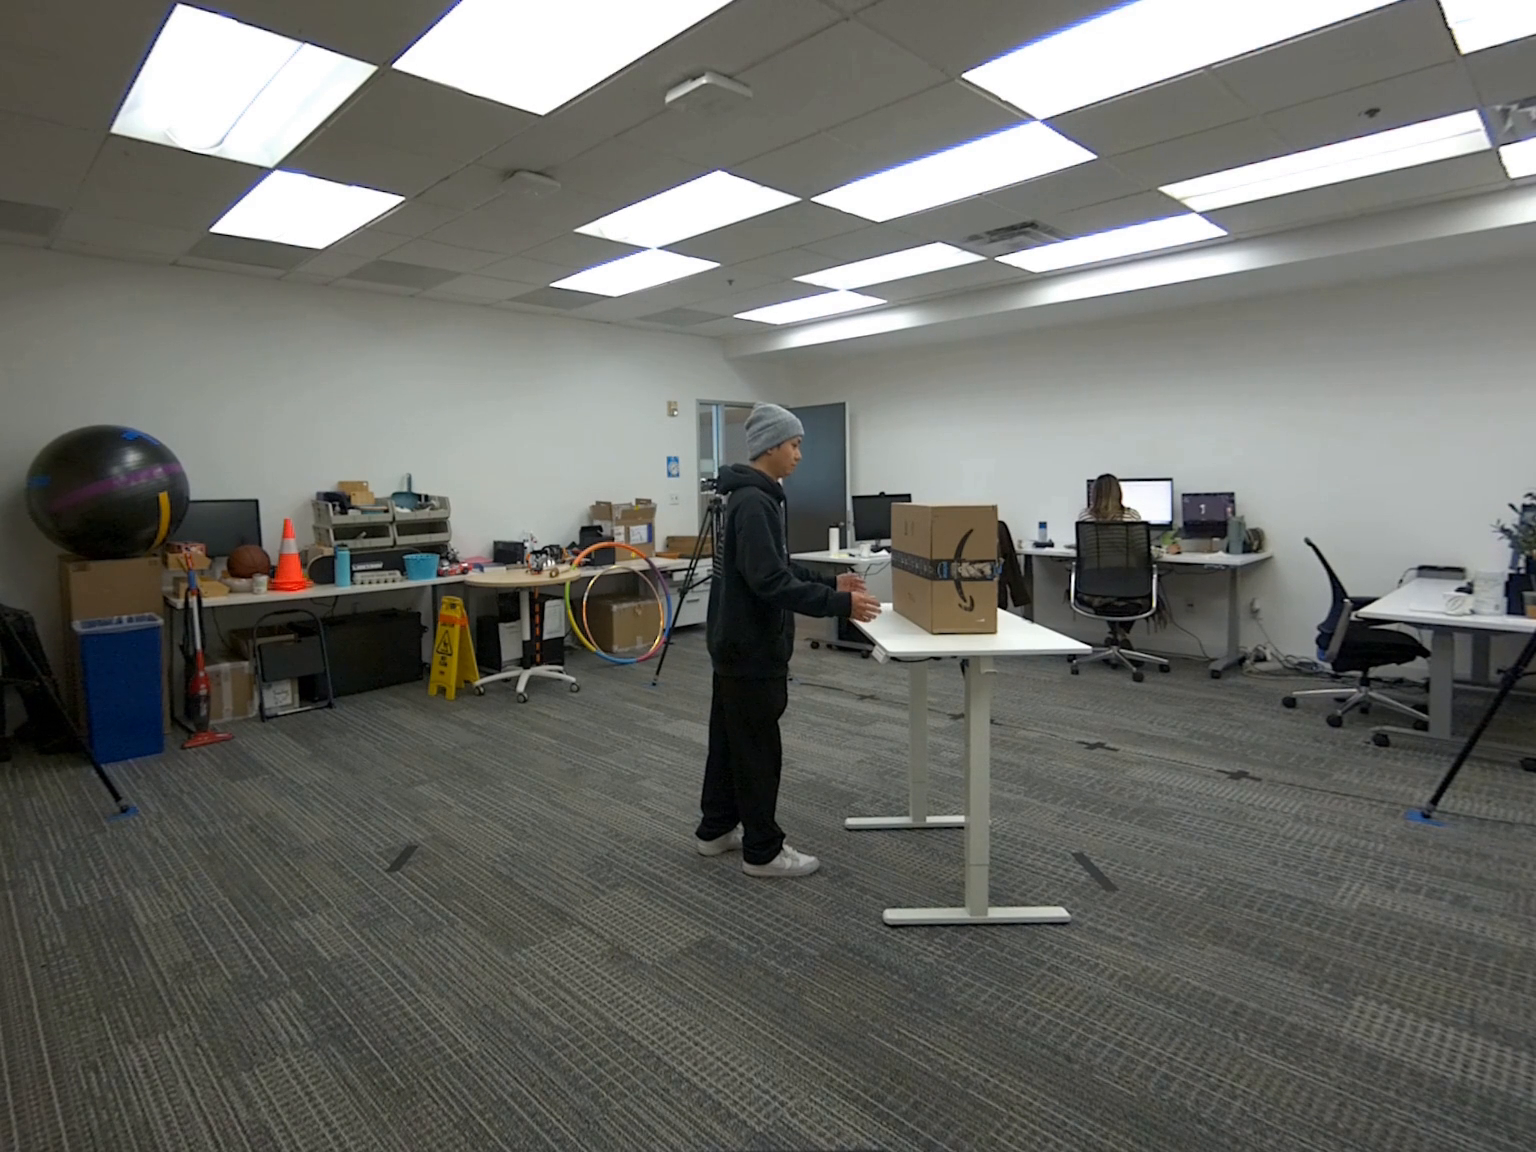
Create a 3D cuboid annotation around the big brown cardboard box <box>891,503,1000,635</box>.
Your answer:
[{"bbox_3d":[0.605,-0.049,3.018,0.232,0.416,0.593,0,5,-4],"label":"big brown cardboard box"}]
